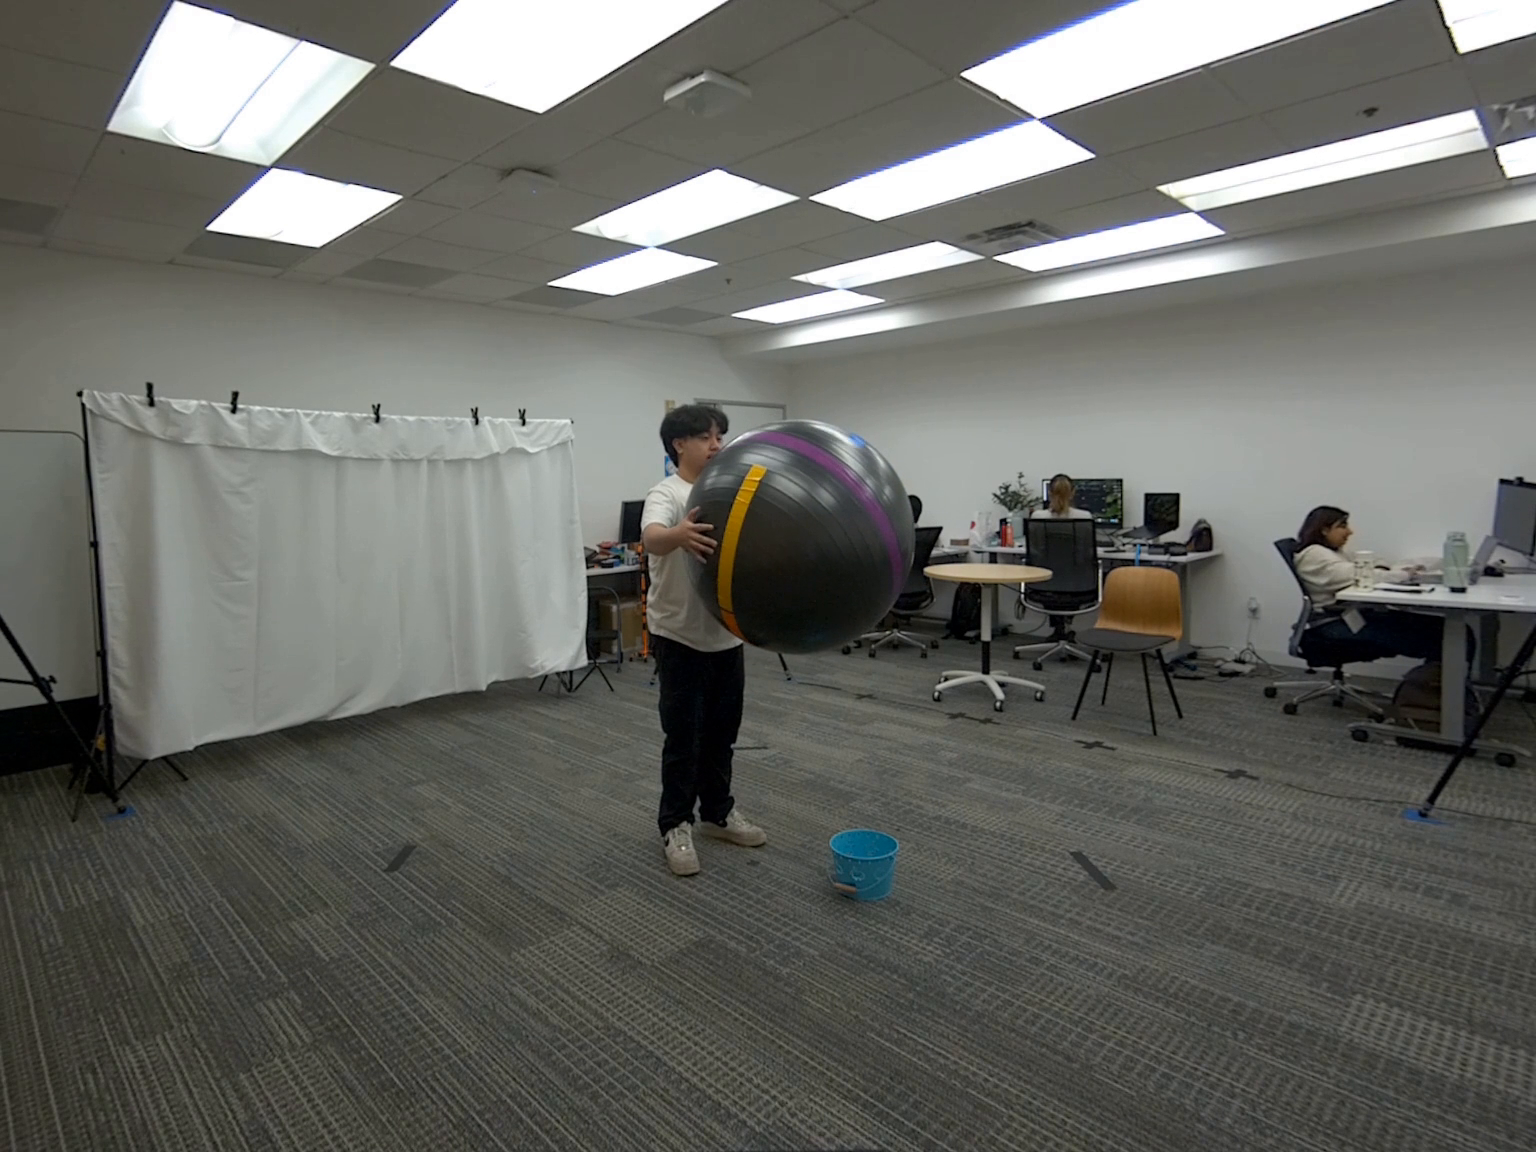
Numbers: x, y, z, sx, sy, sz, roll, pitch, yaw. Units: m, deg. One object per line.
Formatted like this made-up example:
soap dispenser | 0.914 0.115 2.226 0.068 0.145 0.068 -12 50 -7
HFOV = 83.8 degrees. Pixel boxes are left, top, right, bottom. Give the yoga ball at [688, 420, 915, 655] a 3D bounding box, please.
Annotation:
yoga ball | 0.099 -0.117 2.784 0.757 0.755 0.762 -1 5 -2
